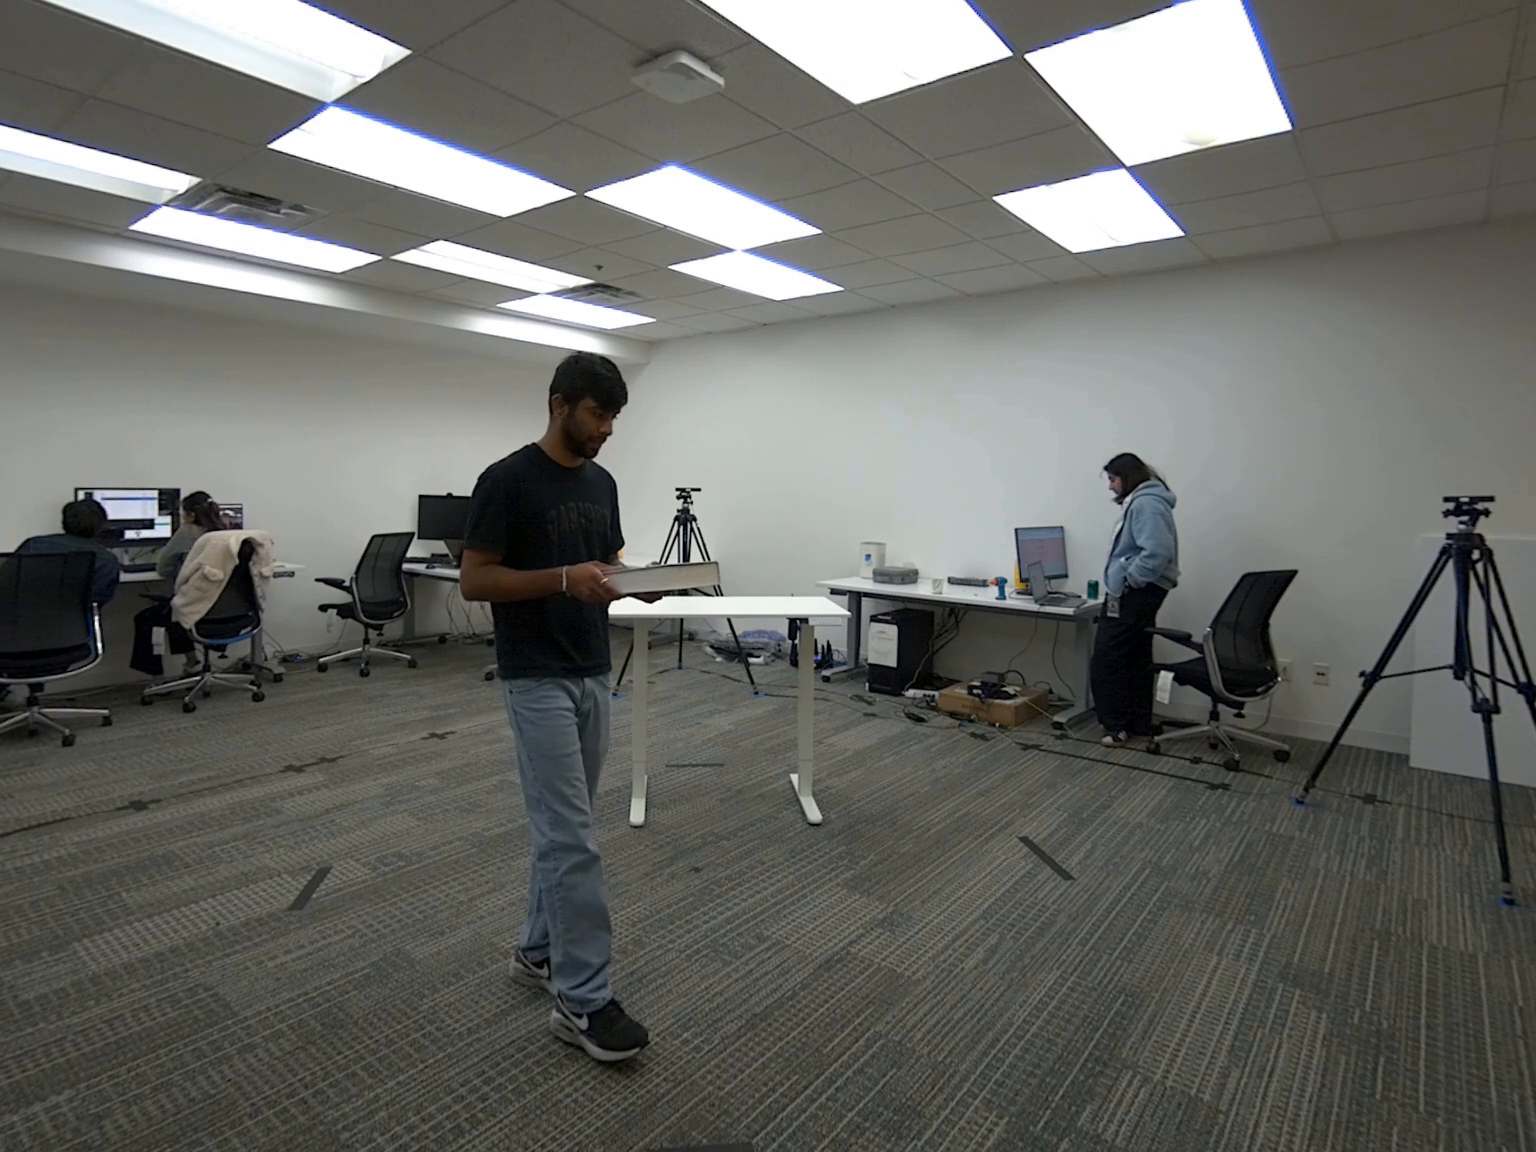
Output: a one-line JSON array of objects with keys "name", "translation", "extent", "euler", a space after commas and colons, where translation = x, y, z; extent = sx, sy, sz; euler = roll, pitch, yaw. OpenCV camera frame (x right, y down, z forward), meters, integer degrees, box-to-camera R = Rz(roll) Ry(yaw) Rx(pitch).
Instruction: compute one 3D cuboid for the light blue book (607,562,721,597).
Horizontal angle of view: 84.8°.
[{"name": "light blue book", "translation": [-0.273, 0.008, 2.085], "extent": [0.267, 0.059, 0.186], "euler": [-6, -1, 26]}]
